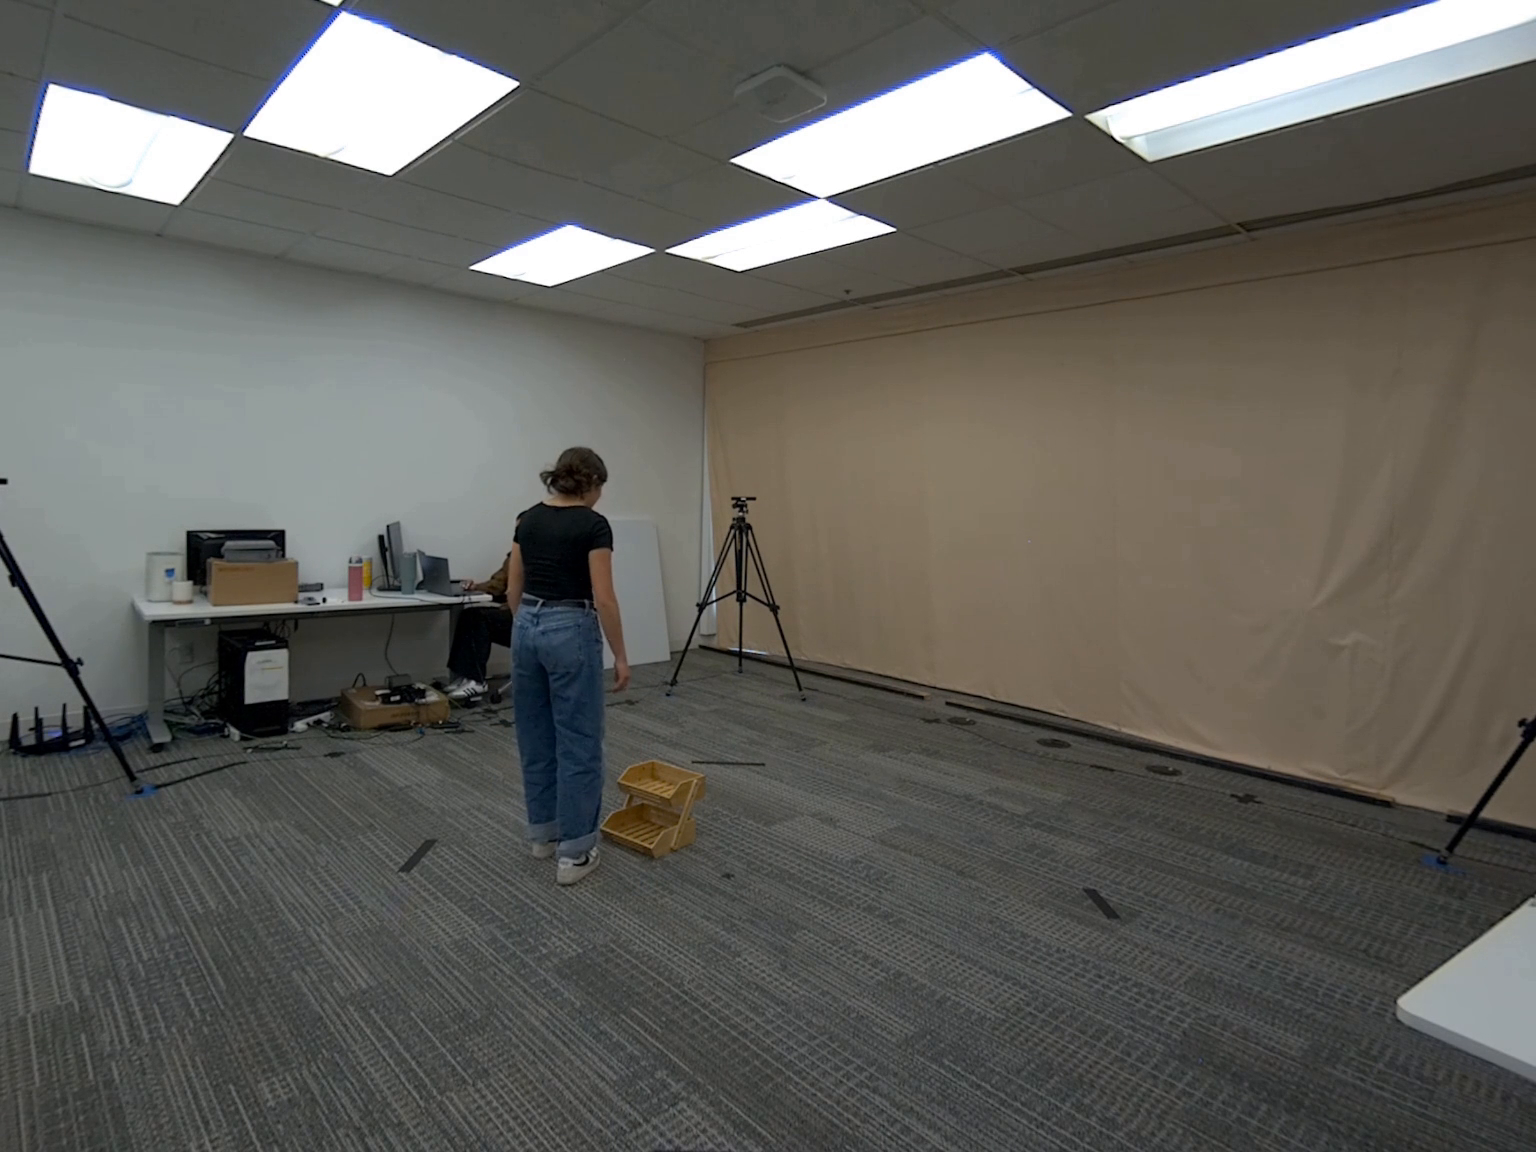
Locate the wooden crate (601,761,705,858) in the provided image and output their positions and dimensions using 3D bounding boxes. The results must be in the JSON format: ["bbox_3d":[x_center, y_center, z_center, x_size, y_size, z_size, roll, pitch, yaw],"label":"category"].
[{"bbox_3d":[-0.481,0.941,3.428,0.332,0.273,0.295,5,4,38],"label":"wooden crate"}]
